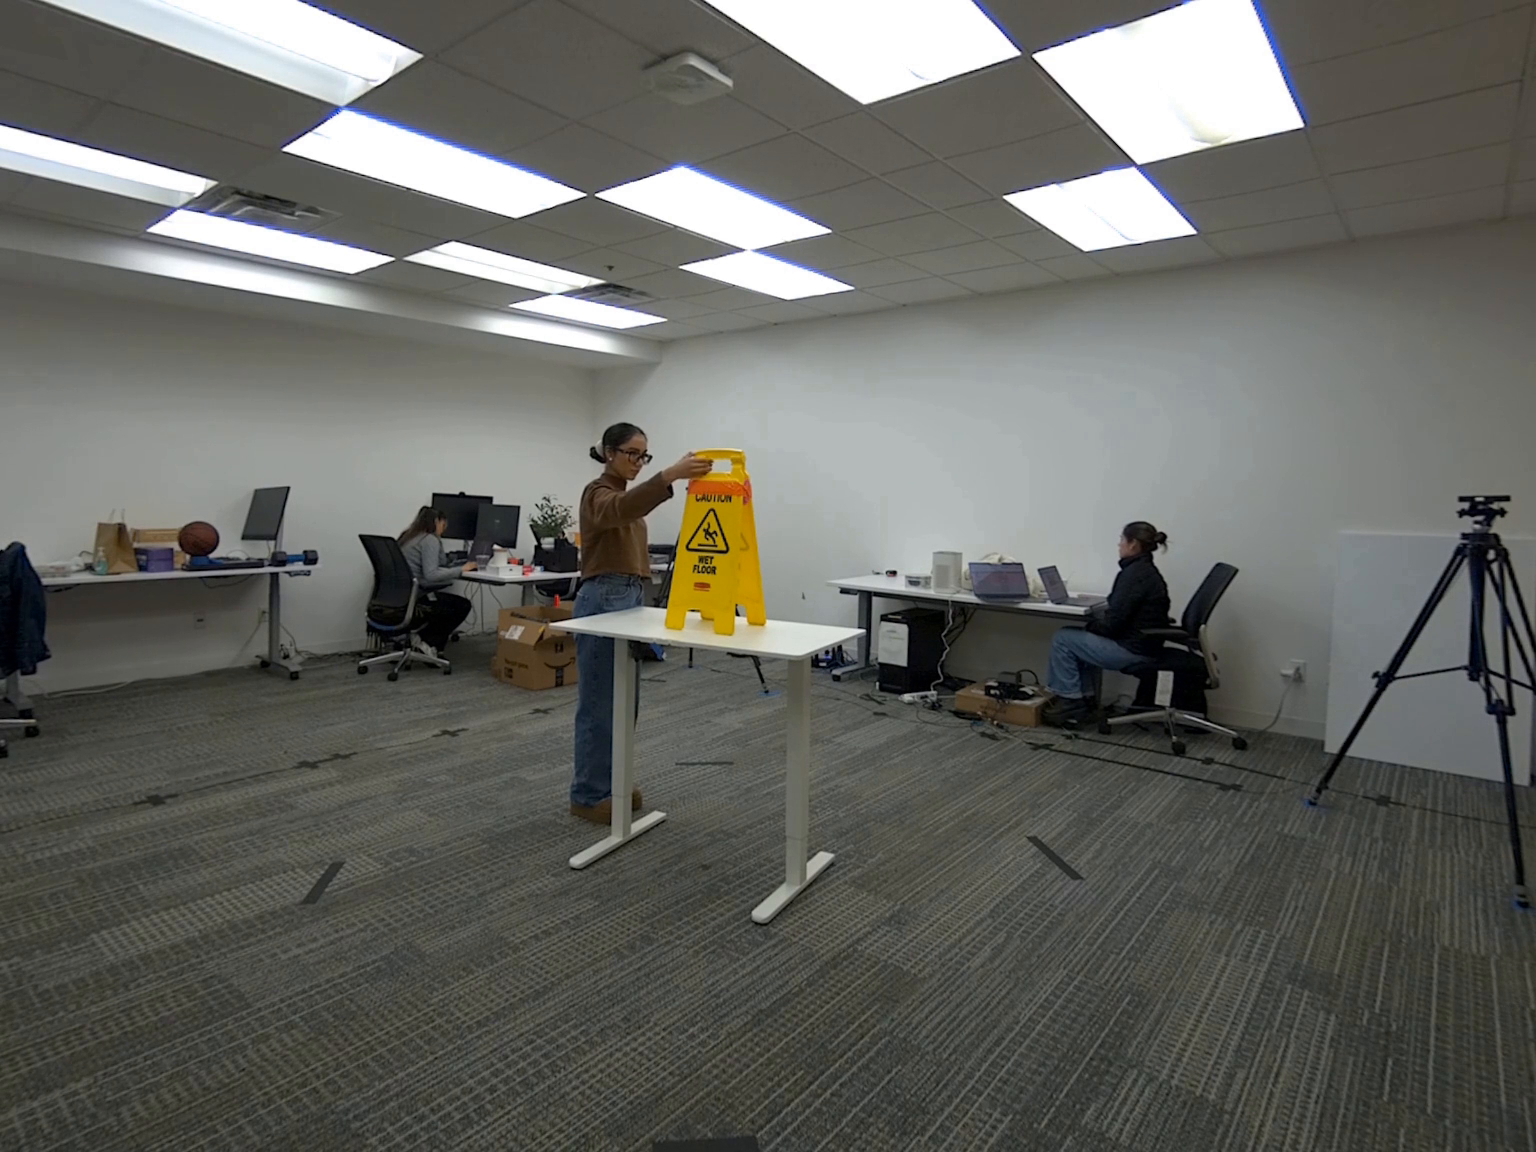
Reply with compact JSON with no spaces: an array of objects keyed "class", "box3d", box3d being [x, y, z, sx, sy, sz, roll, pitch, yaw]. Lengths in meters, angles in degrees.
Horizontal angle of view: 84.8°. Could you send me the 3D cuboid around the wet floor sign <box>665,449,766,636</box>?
[{"class":"wet floor sign","box3d":[-0.194,-0.136,3.098,0.290,0.644,0.283,3,4,27]}]
